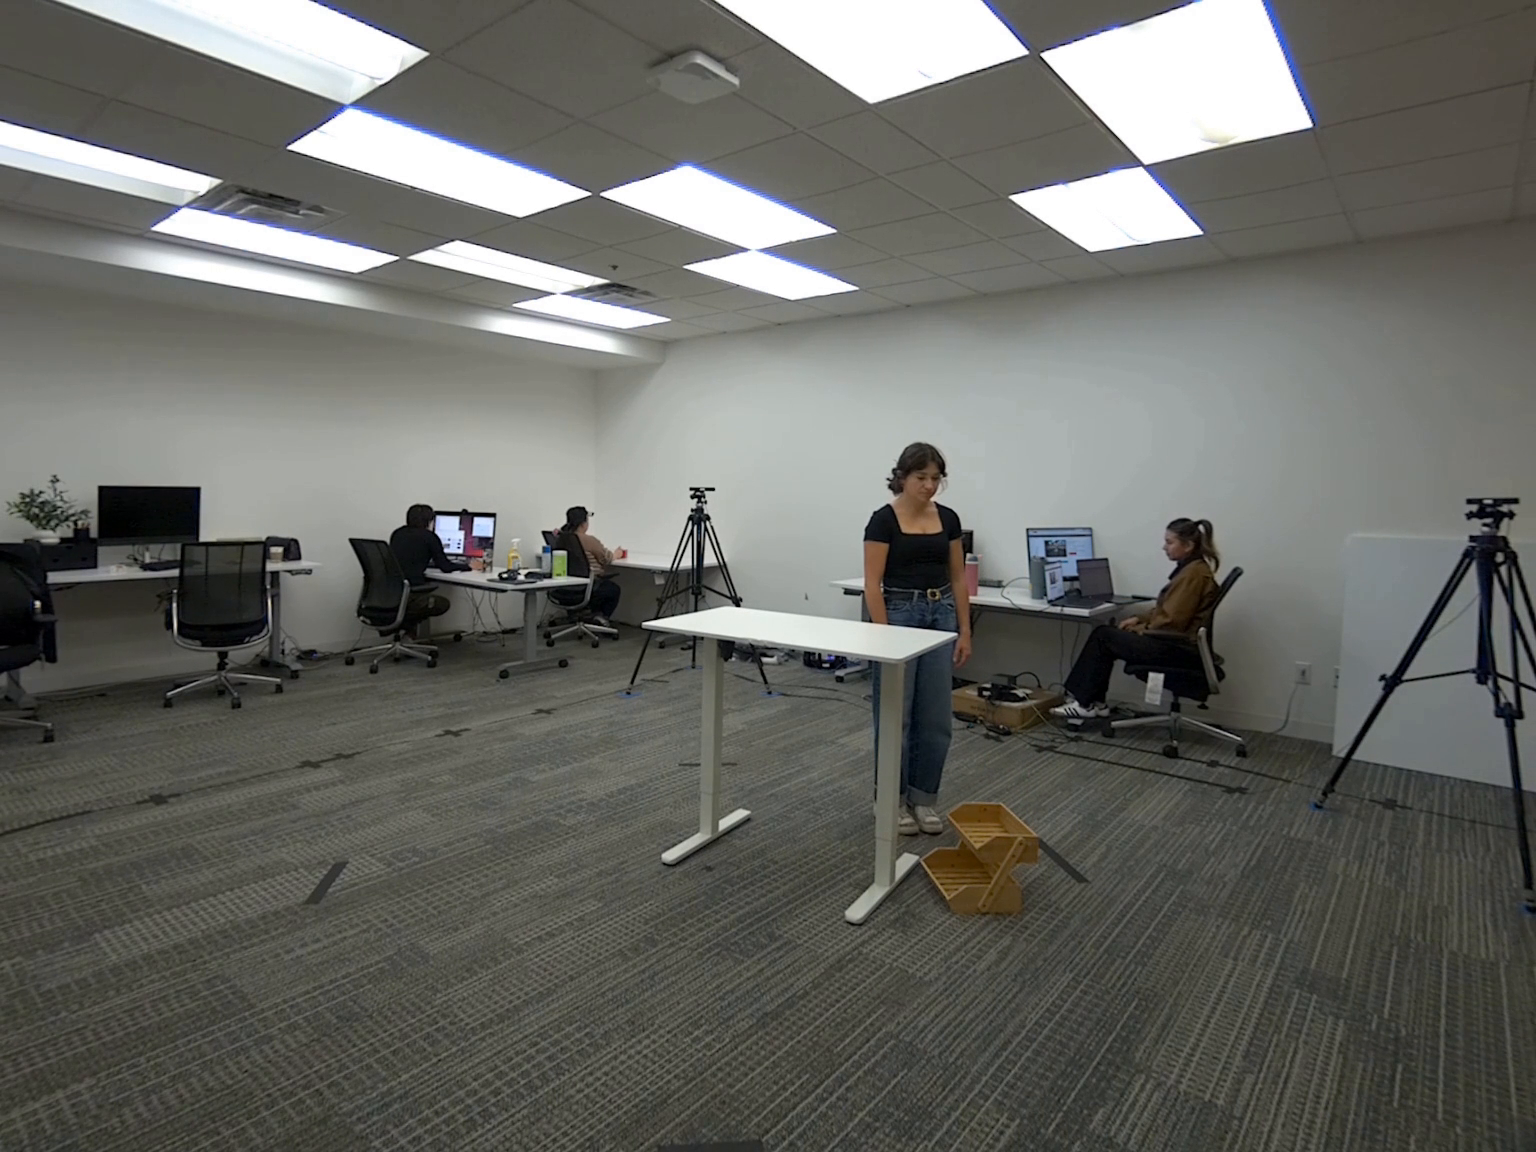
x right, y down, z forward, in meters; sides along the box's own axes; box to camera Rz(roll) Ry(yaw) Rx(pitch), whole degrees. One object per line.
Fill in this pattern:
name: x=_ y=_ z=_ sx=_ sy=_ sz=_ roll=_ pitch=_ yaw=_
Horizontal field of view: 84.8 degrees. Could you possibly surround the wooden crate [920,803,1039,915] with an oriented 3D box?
wooden crate: x=0.704 y=0.959 z=2.979 sx=0.300 sy=0.272 sz=0.328 roll=2 pitch=4 yaw=-7
